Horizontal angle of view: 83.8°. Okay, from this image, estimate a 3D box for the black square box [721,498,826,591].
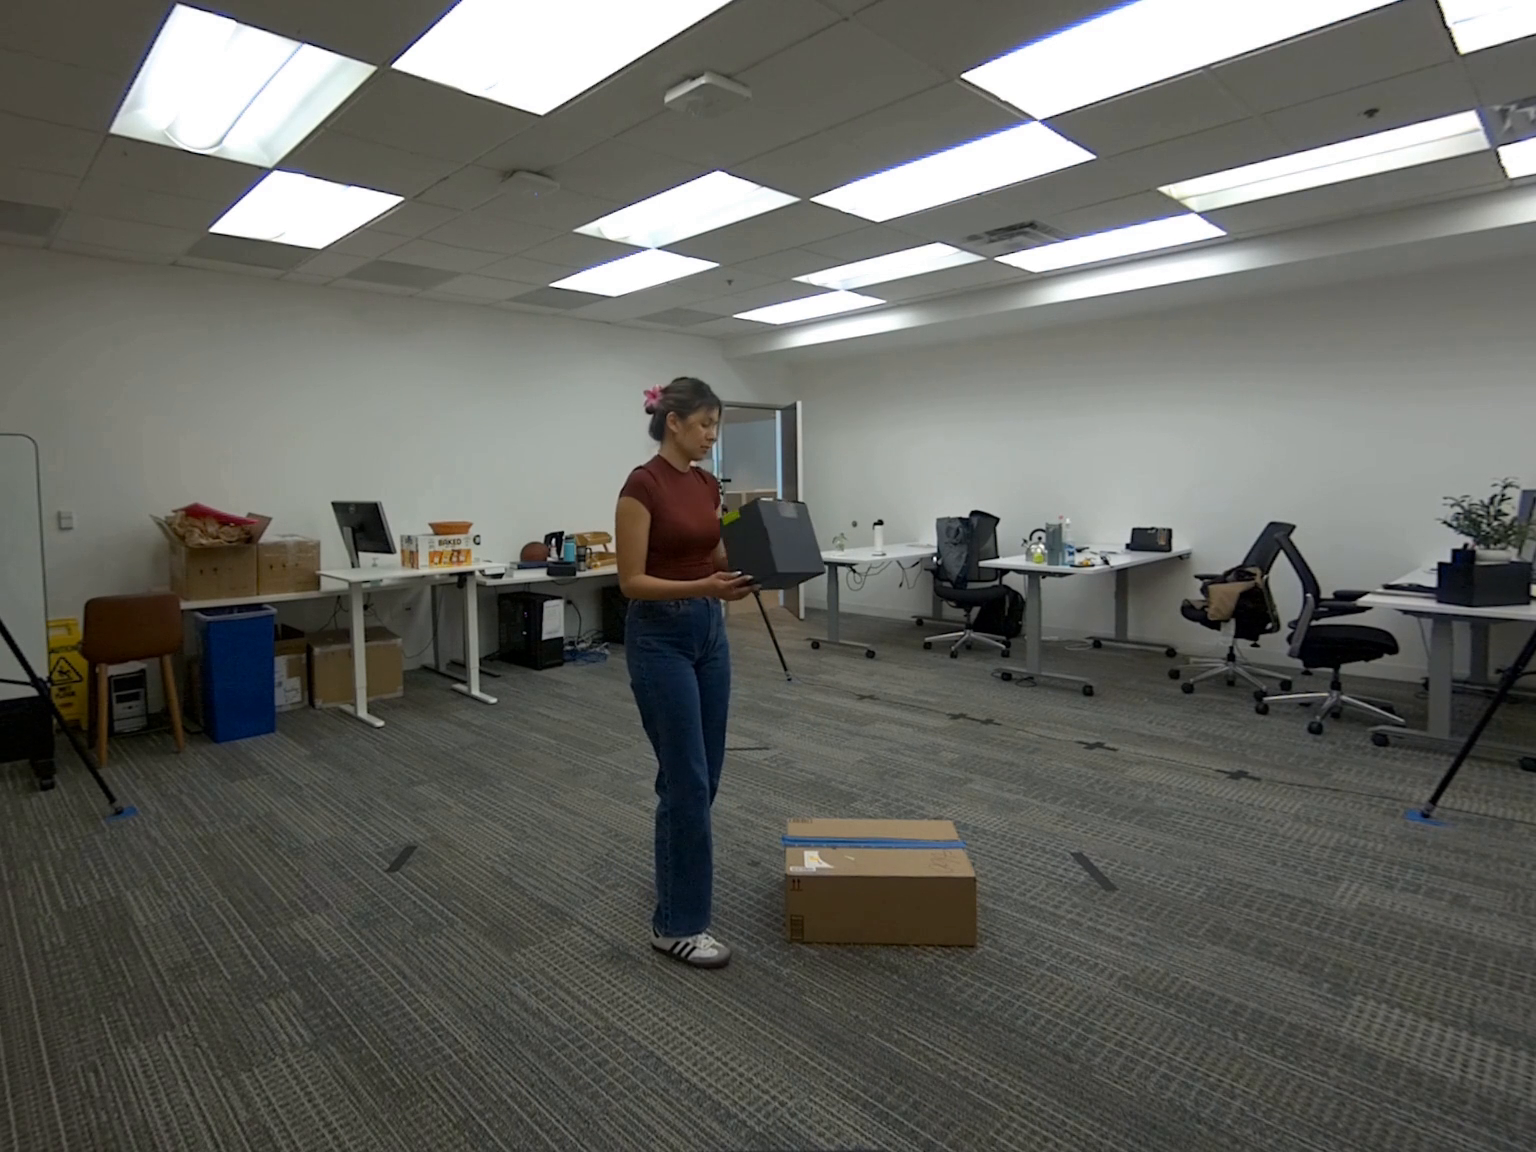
[{"bbox_3d":[0.004,-0.086,2.401,0.158,0.221,0.221,-26,-18,37],"label":"black square box"}]
